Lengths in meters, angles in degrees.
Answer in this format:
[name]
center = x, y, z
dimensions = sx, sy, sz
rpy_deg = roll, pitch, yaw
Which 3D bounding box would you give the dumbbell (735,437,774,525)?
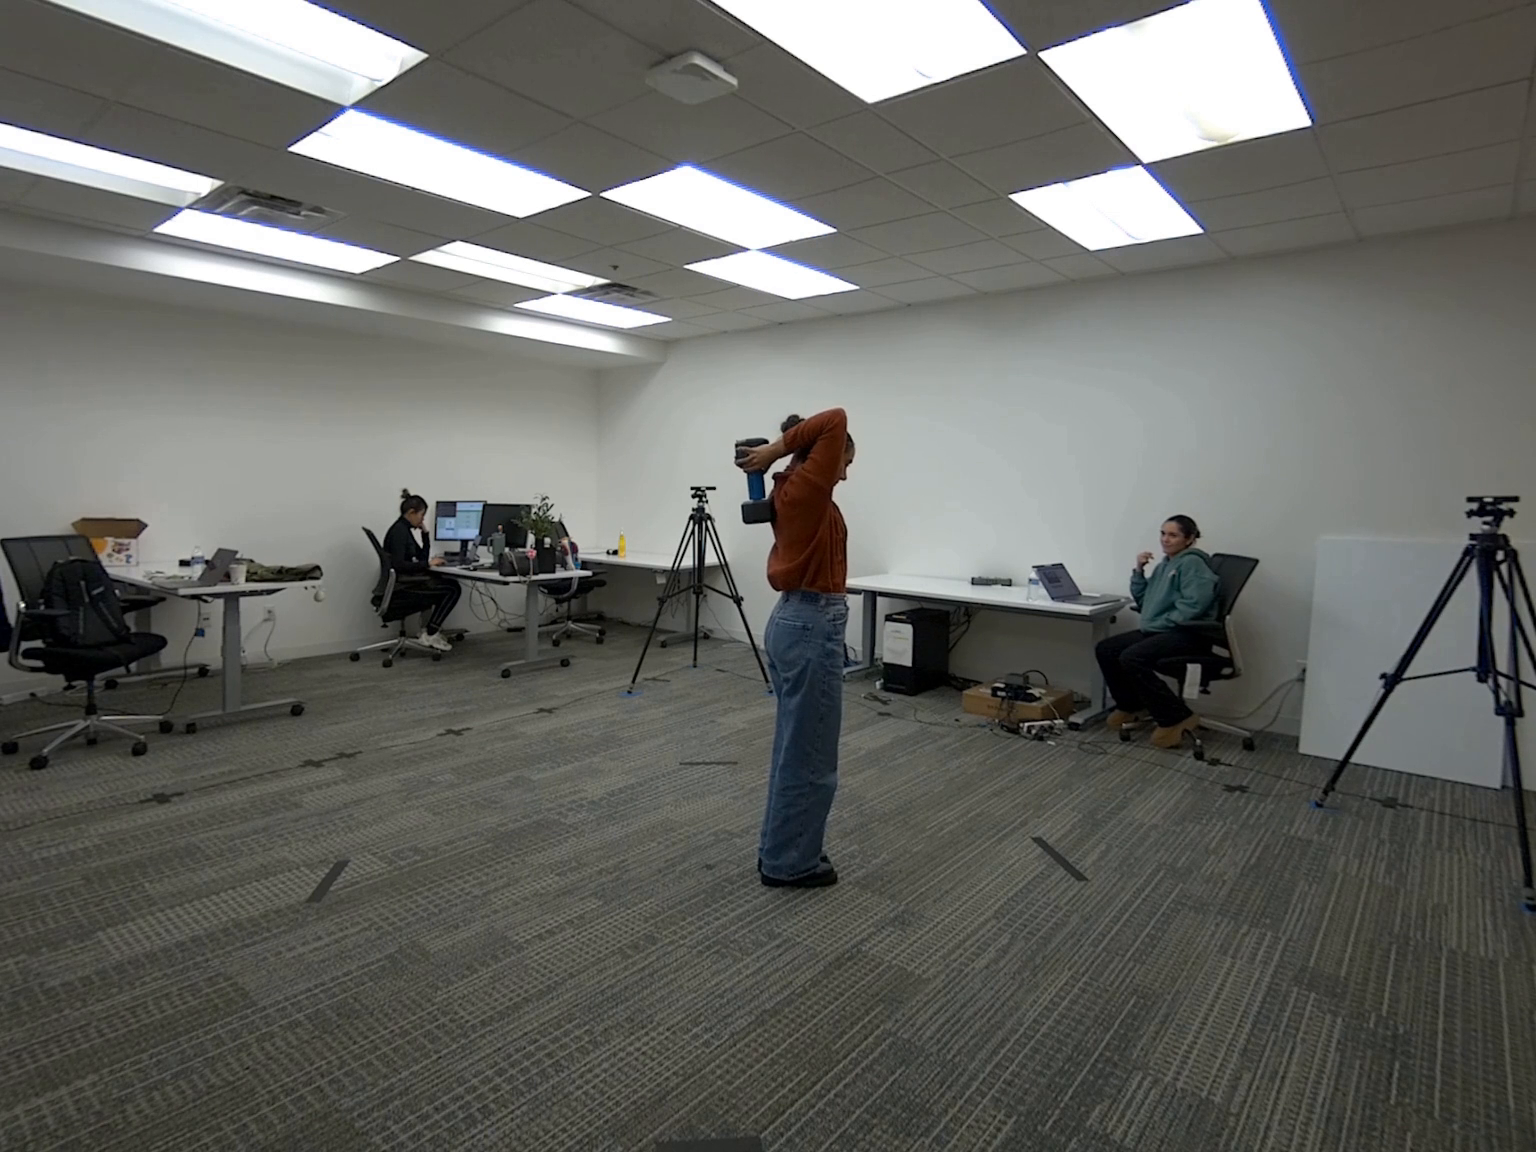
[dumbbell]
center = -0.046, -0.330, 2.955
dimensions = 0.121, 0.294, 0.110
rpy_deg = -3, -1, -15
